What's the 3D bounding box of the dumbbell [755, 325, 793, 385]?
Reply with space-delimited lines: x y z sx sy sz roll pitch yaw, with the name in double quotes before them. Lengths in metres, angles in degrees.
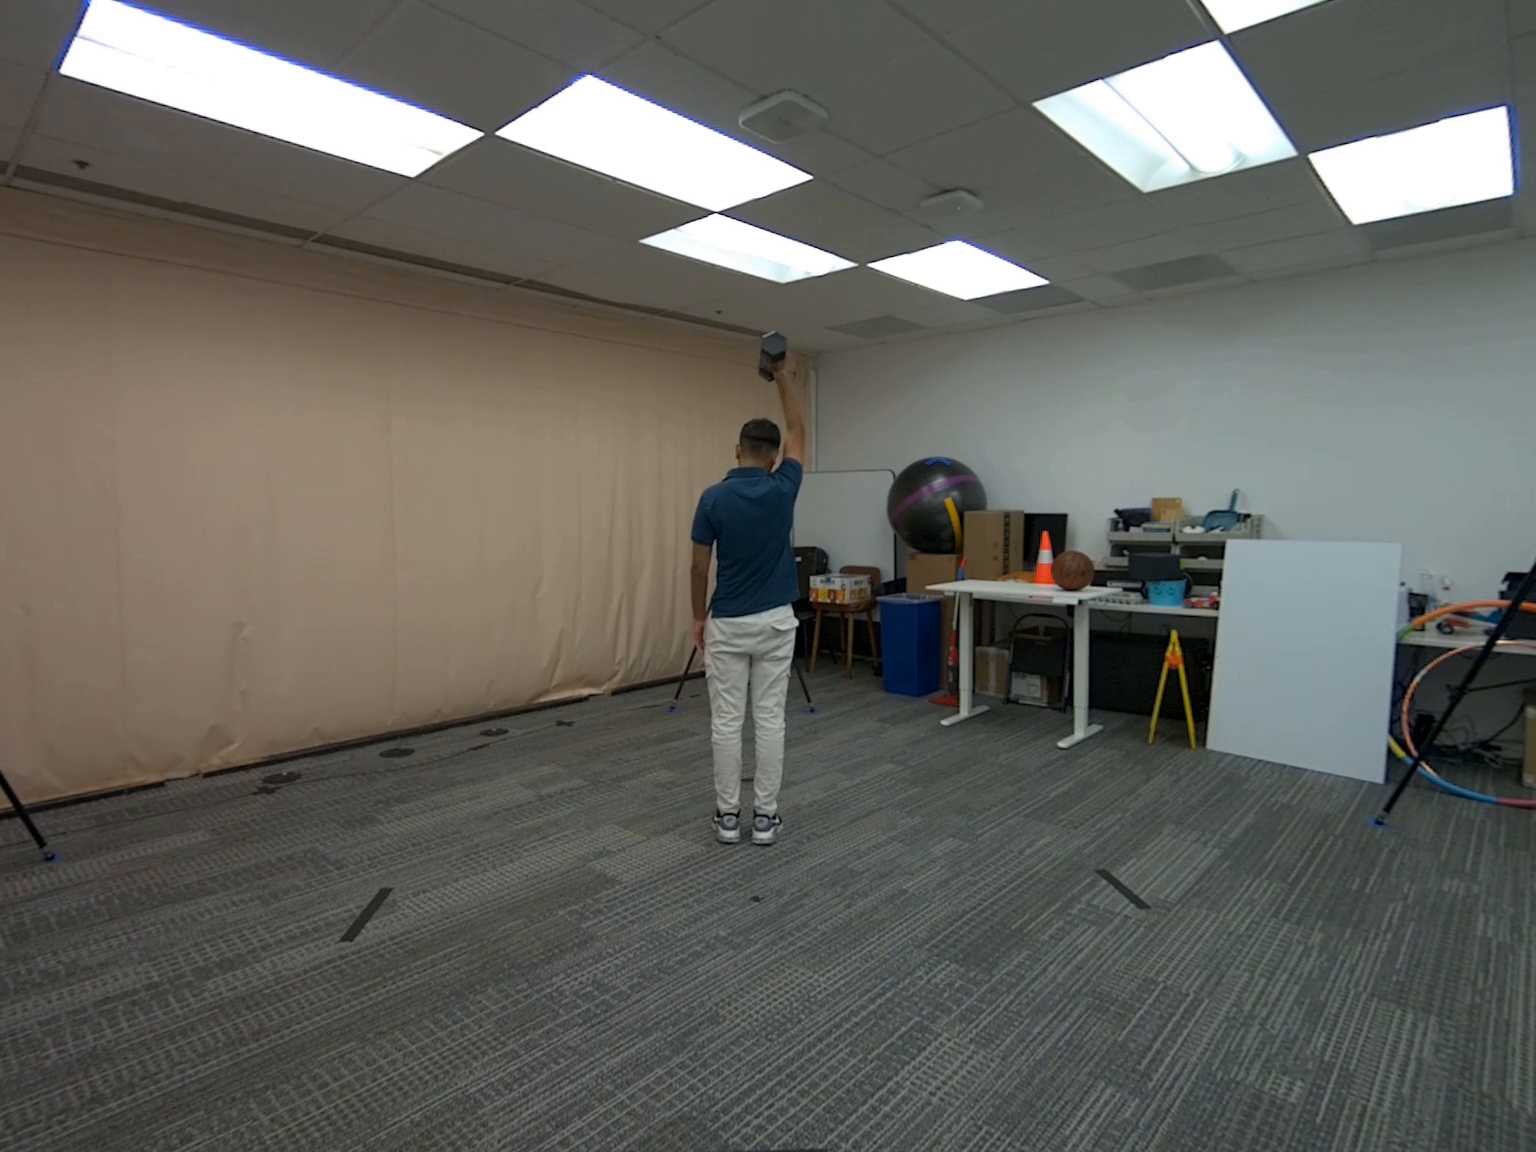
"dumbbell" 0.022 -0.941 3.617 0.123 0.110 0.291 -18 -9 -3
